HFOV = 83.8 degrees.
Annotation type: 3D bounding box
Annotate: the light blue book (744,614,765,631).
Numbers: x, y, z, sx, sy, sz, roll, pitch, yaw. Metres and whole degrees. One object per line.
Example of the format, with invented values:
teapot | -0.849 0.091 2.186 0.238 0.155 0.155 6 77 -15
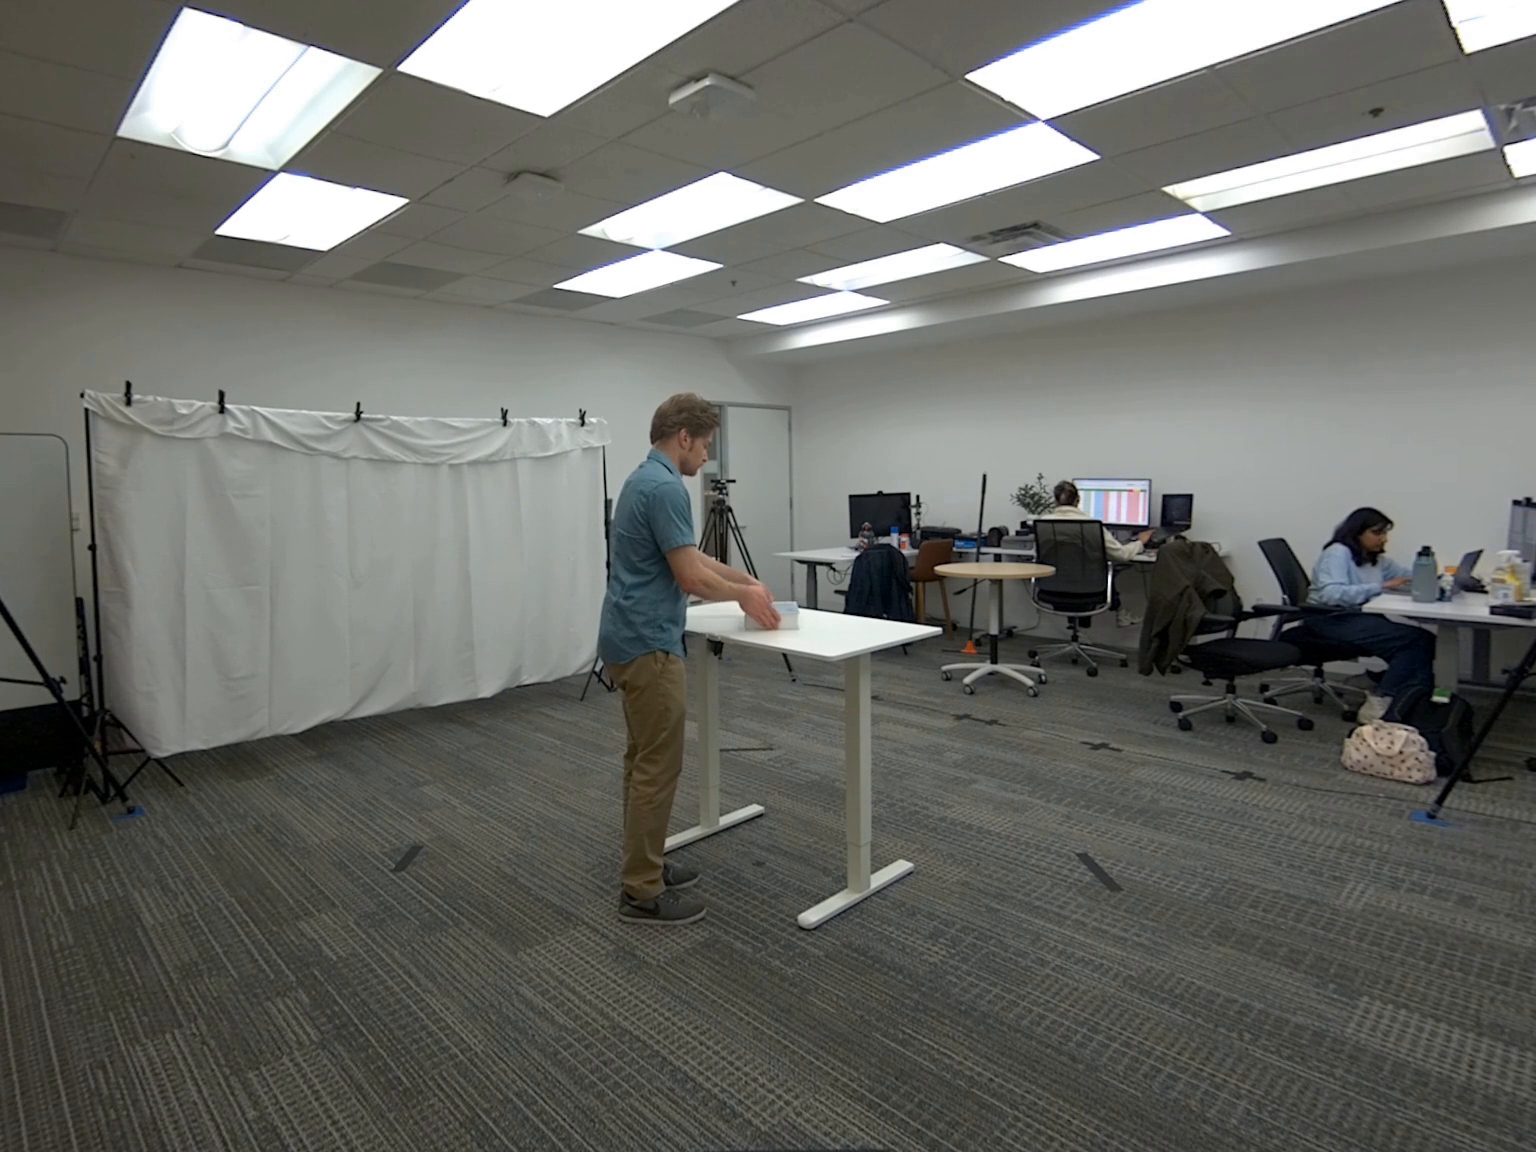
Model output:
light blue book | 0.012 0.142 3.045 0.191 0.059 0.262 -1 7 0
